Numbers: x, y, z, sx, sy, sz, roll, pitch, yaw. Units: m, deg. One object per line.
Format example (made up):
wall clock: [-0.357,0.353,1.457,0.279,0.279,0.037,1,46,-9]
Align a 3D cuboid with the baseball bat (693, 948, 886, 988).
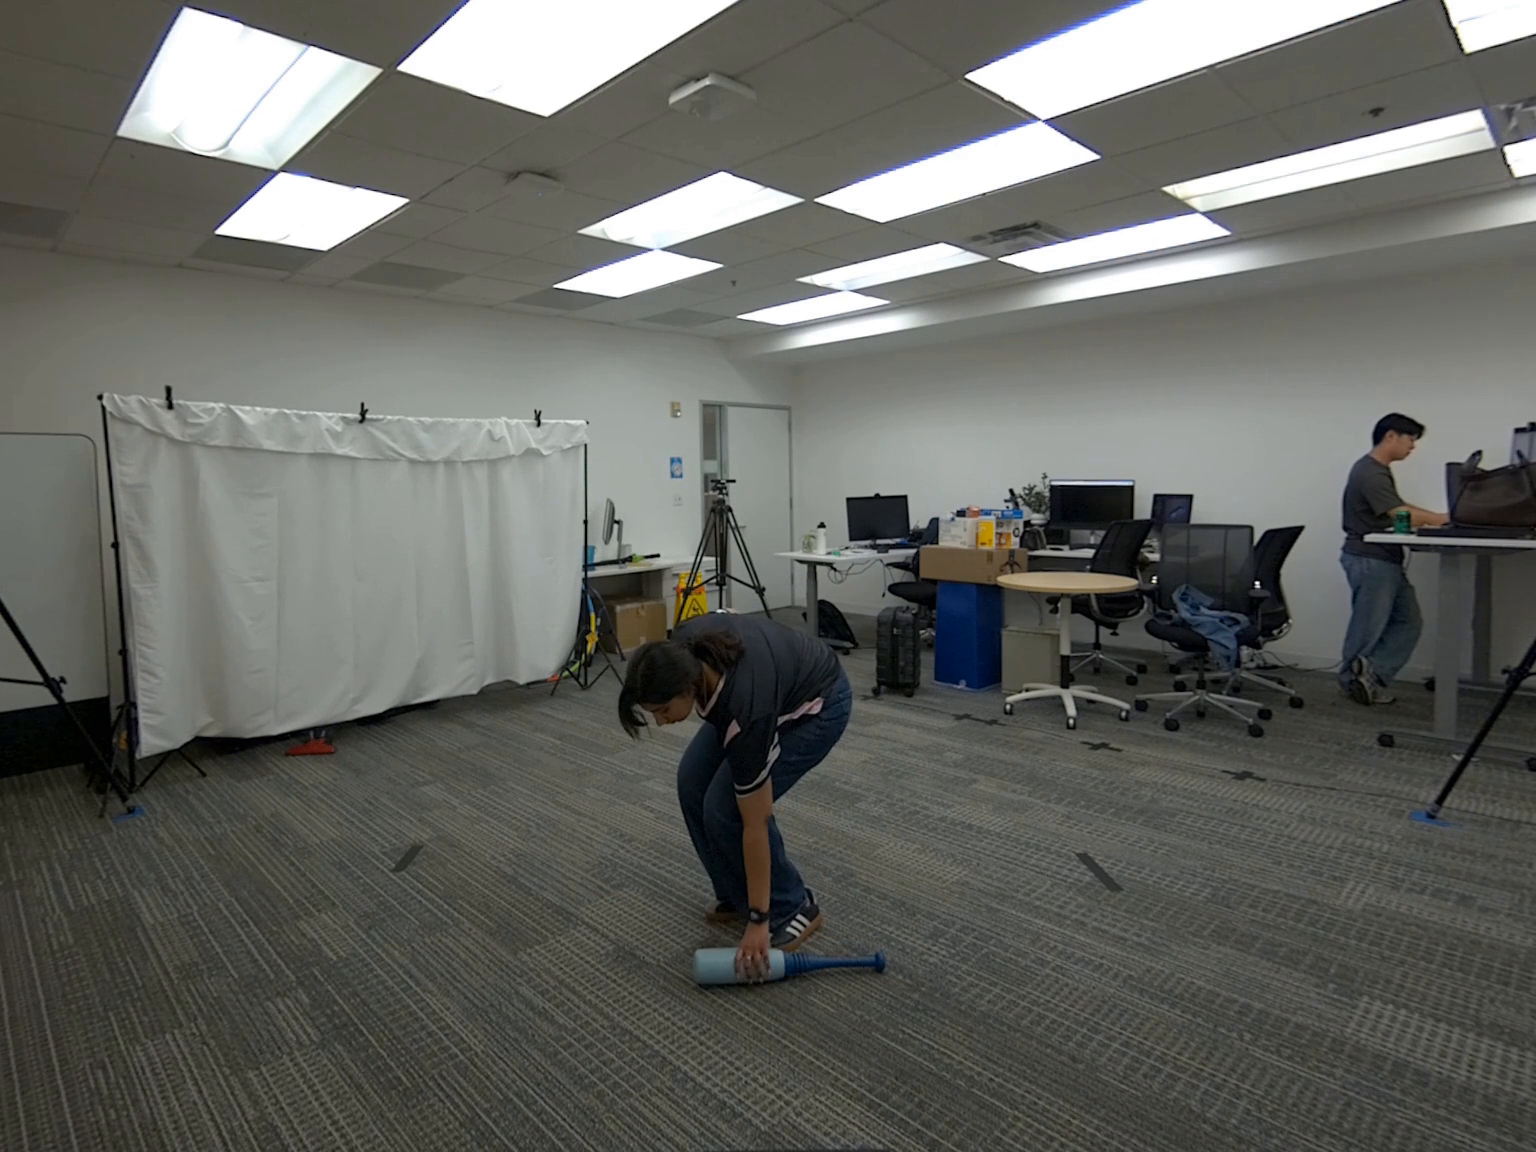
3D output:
baseball bat: [0.058,1.092,2.403,0.539,0.089,0.090,0,4,-7]
